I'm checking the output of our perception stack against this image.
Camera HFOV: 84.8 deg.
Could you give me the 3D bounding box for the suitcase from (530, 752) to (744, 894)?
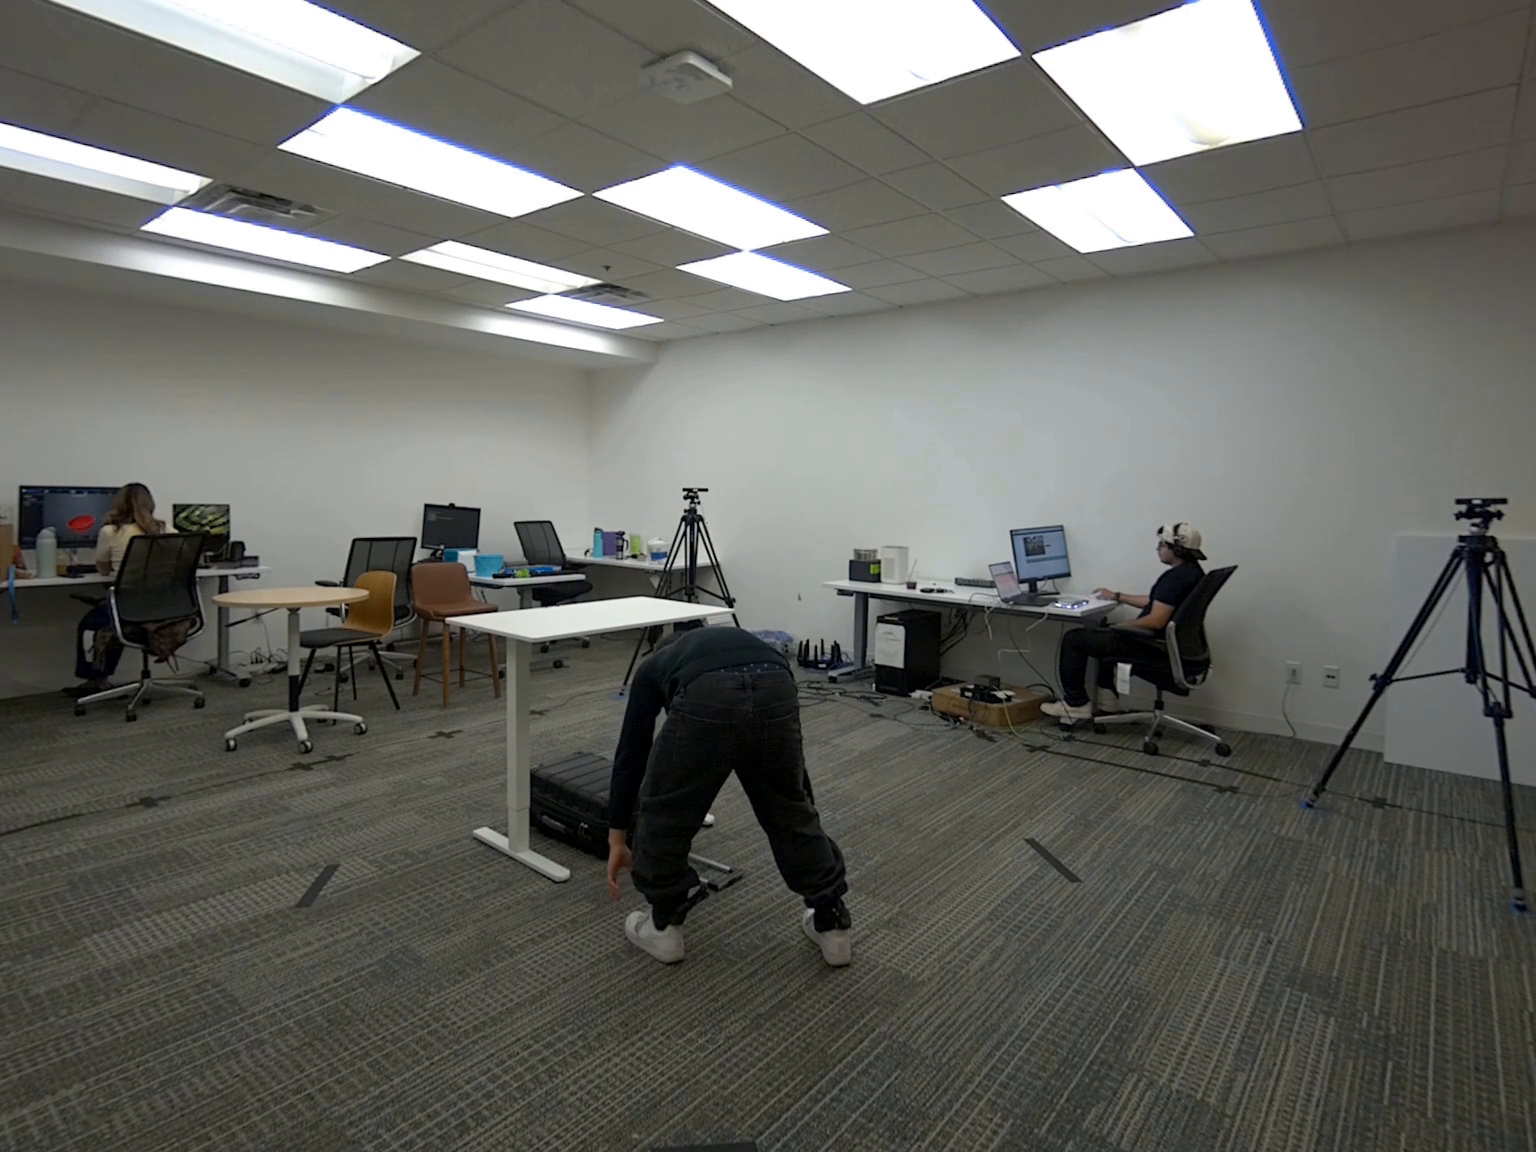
[{"bbox_3d":[-0.546,0.920,3.280,1.011,0.256,0.373,5,5,37],"label":"suitcase"}]
